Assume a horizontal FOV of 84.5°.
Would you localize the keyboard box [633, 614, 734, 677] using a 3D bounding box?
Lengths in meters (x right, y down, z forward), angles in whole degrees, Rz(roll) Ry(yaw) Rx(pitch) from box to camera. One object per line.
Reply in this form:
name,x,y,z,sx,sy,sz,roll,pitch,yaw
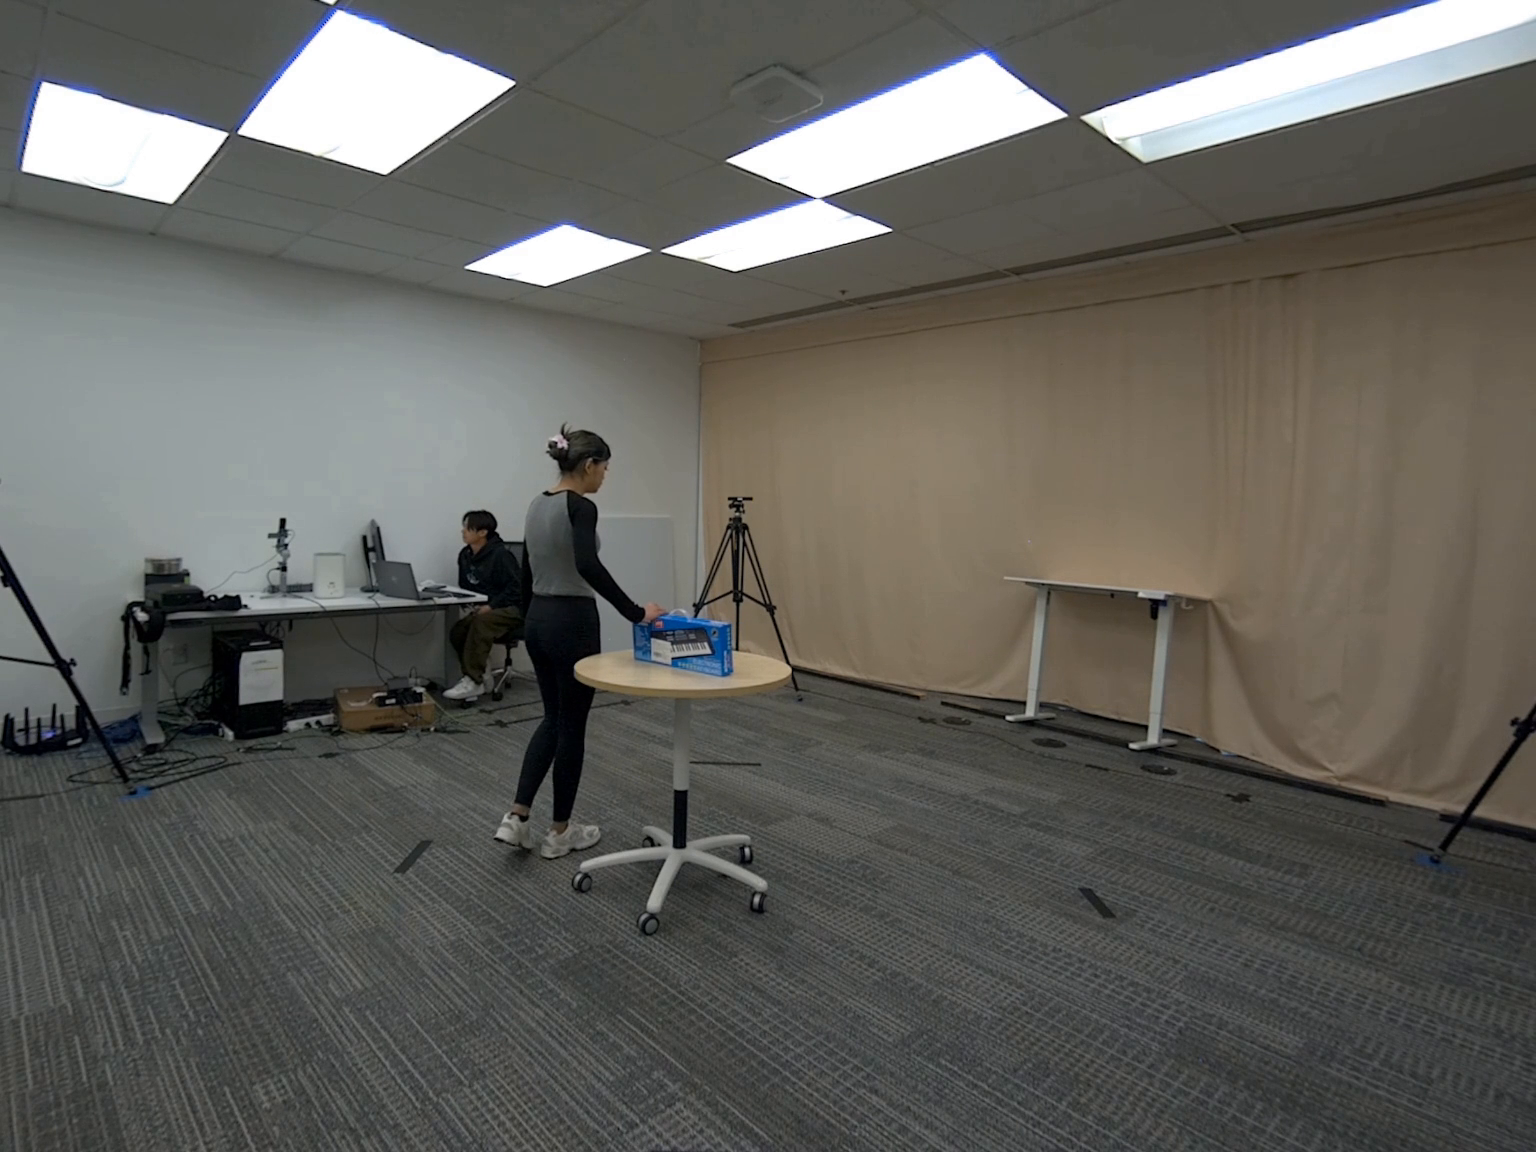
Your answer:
keyboard box,-0.311,0.237,2.963,0.448,0.175,0.058,4,9,40
